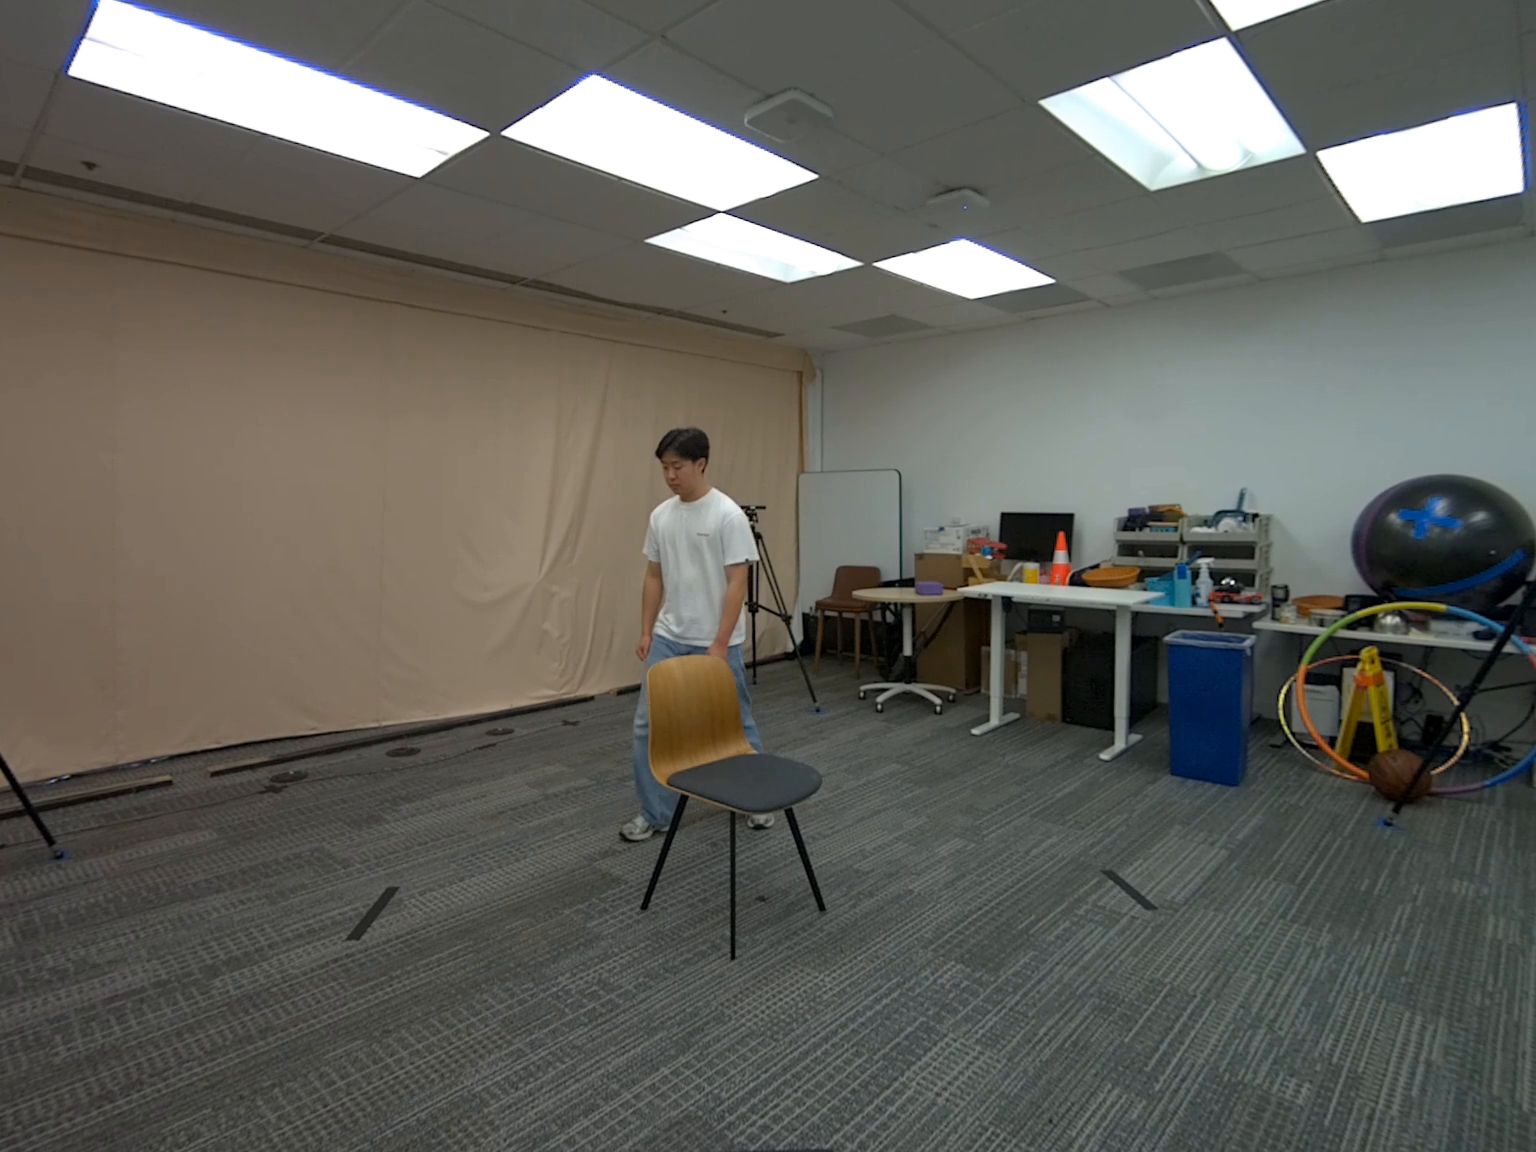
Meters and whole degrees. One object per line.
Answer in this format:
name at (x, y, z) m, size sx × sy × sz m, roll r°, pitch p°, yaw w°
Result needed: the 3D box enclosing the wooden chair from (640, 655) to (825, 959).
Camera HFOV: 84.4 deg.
wooden chair at (-0.114, 0.727, 2.861) m, size 0.539 × 0.877 × 0.463 m, roll -3°, pitch 1°, yaw 44°
